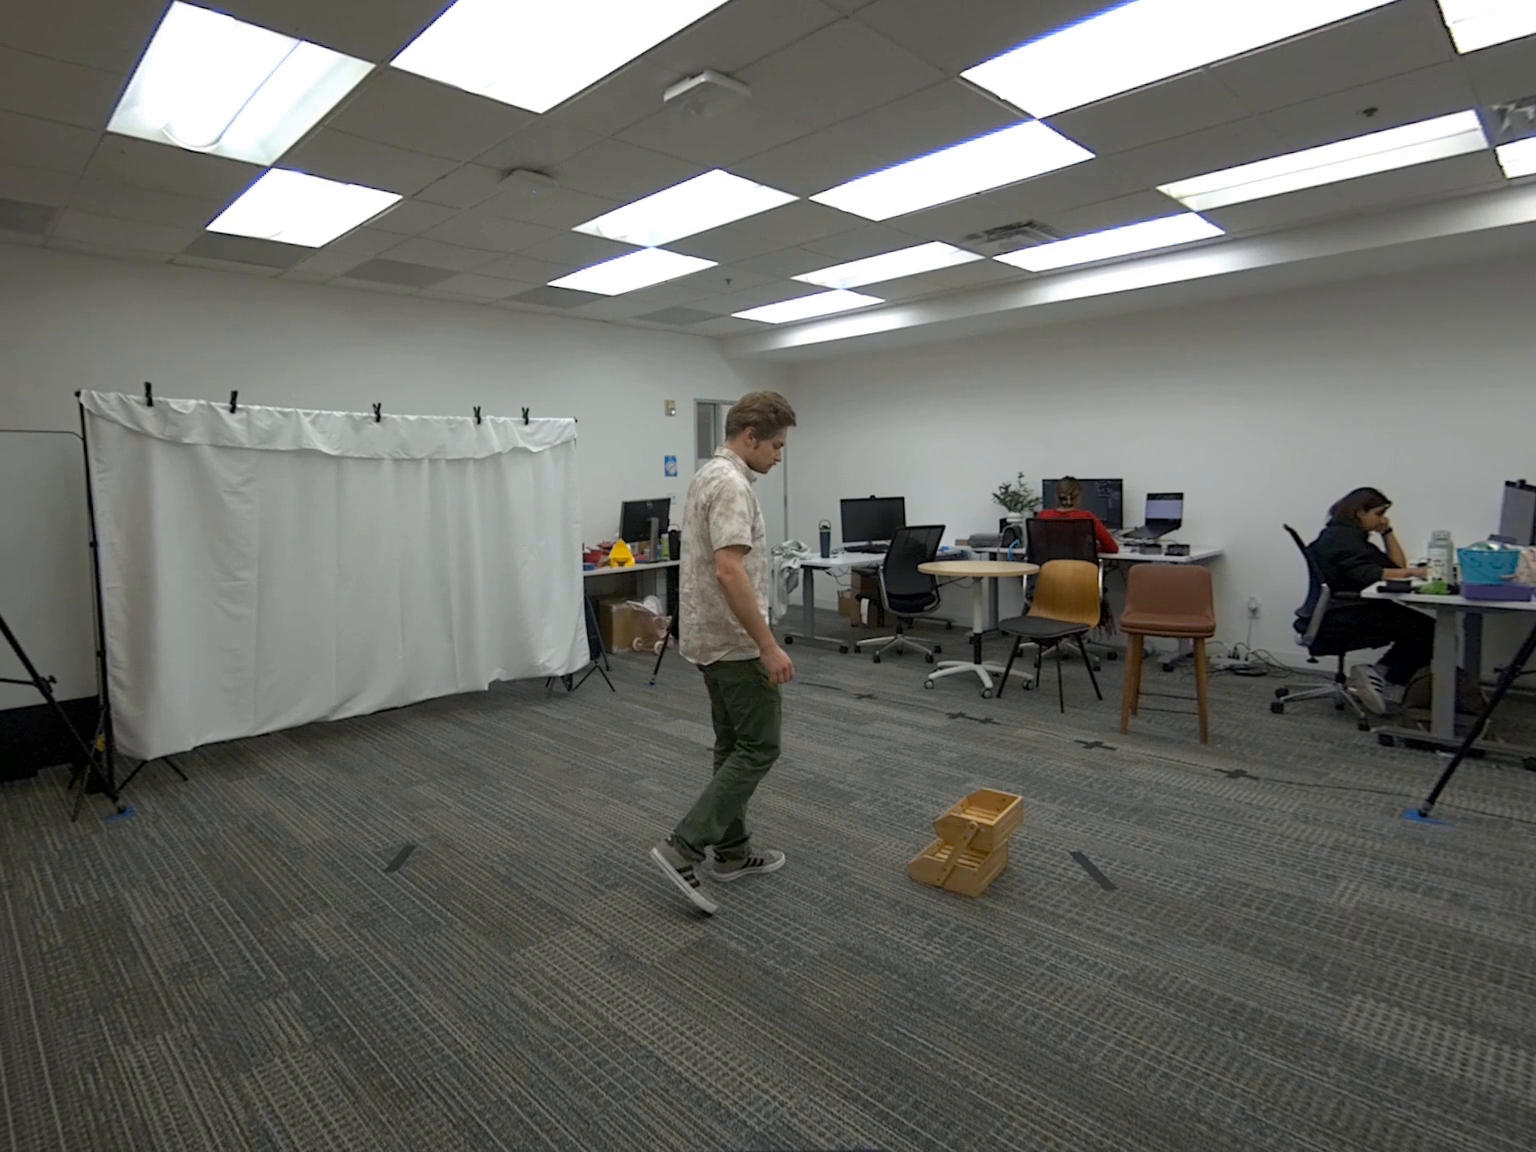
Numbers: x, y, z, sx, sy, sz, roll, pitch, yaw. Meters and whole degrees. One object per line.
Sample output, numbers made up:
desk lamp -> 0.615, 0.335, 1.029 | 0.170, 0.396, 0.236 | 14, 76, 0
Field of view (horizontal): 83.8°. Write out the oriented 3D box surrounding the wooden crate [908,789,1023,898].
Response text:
wooden crate -> 0.691, 0.907, 2.991 | 0.311, 0.272, 0.316 | 4, 7, 35
